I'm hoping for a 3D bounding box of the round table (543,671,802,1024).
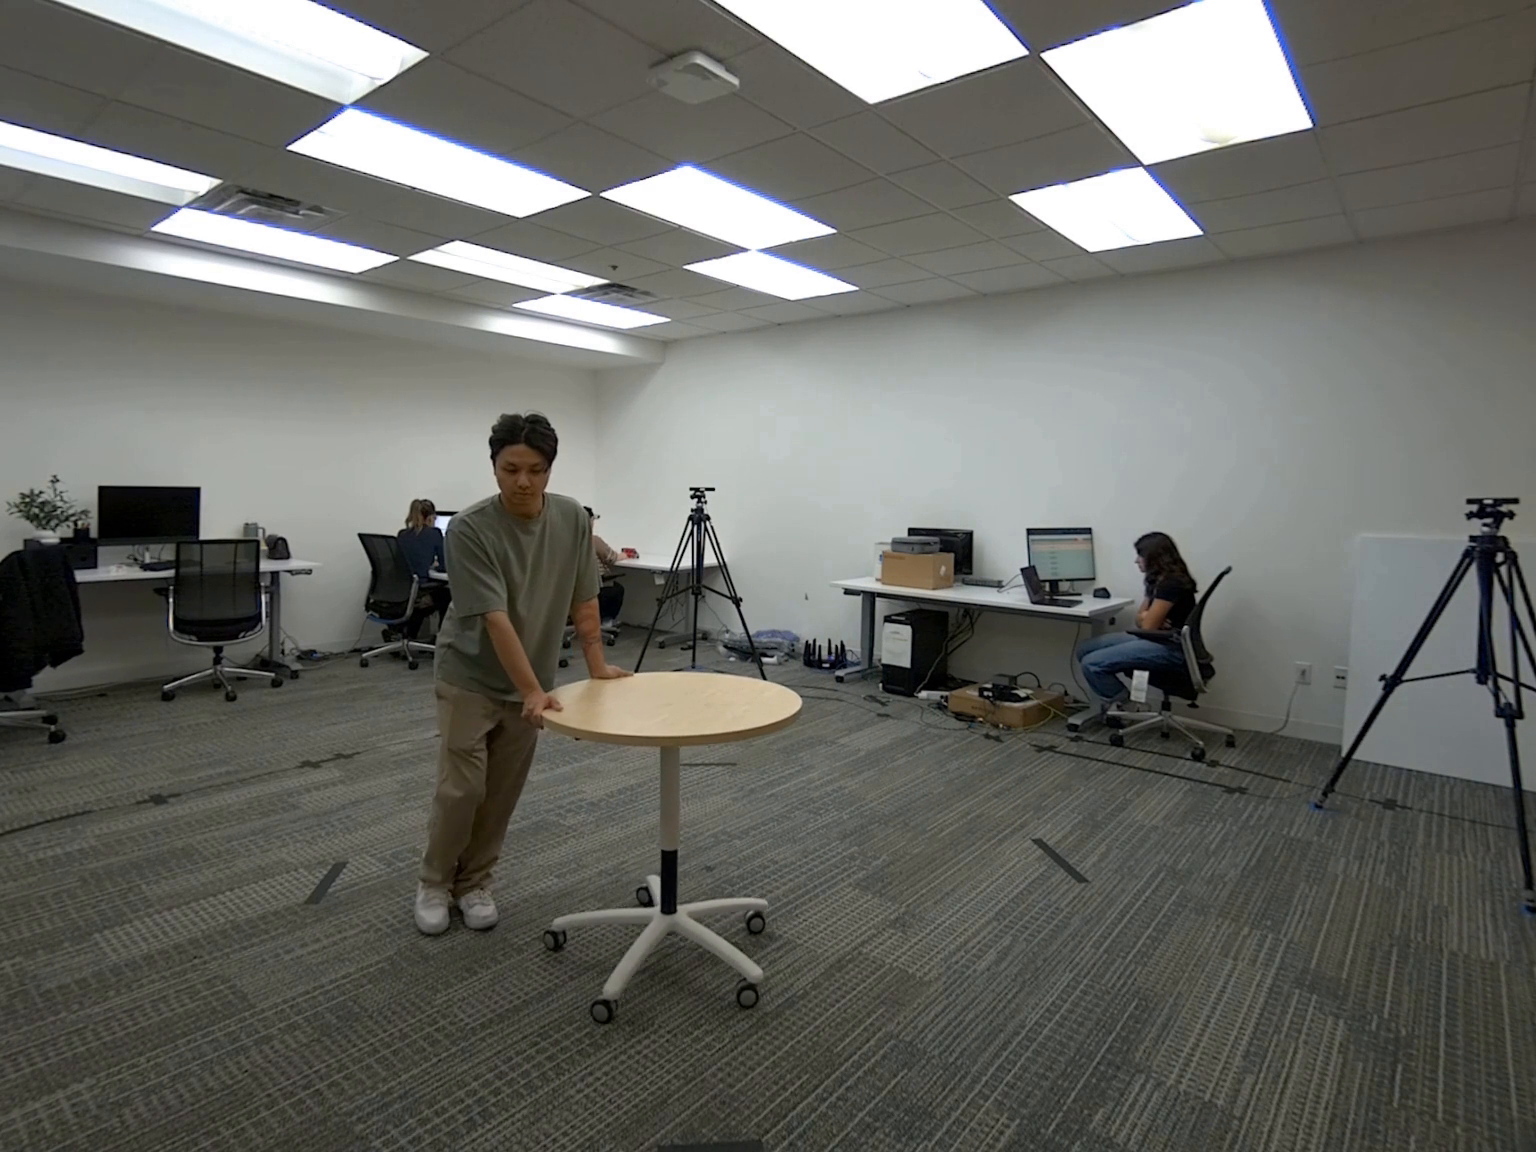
[{"bbox_3d":[-0.290,0.740,2.480,0.784,0.784,0.789,0,4,-2],"label":"round table"}]
